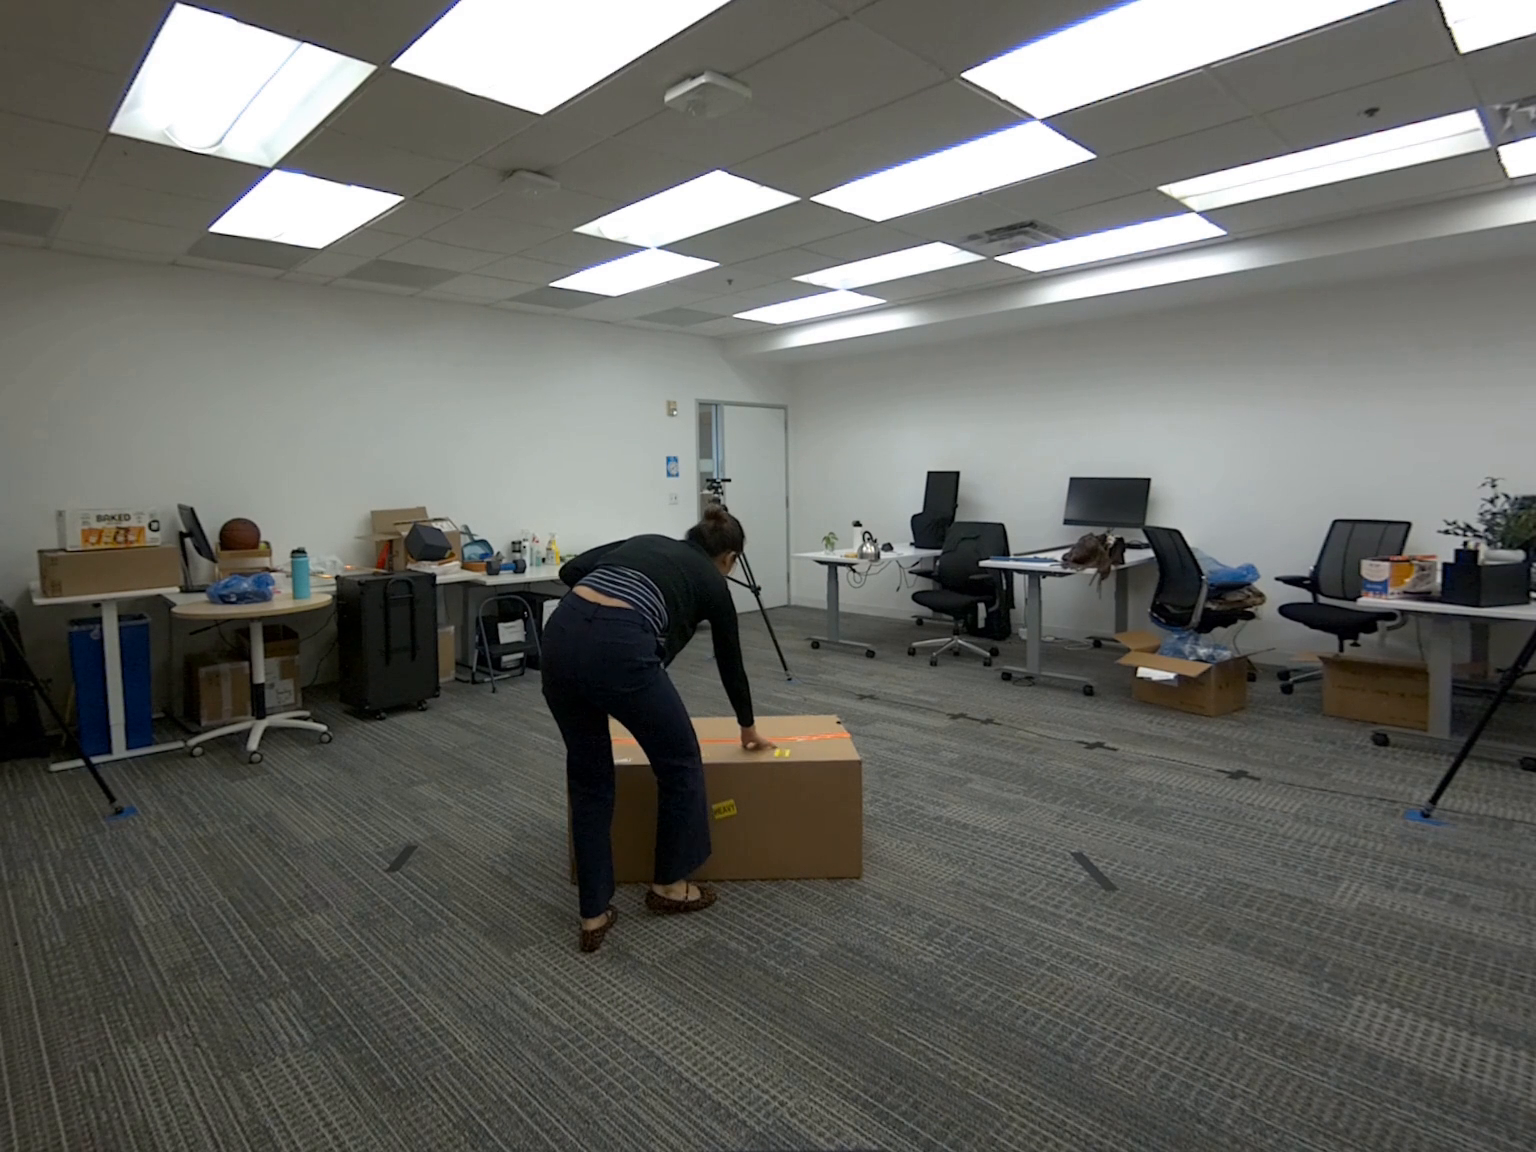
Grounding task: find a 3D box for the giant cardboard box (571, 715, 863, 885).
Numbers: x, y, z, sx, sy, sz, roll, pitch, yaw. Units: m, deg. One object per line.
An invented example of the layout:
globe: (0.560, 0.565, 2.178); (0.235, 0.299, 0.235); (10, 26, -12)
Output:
giant cardboard box: (-0.200, 0.817, 3.246); (1.025, 0.424, 0.581); (-1, 6, -1)
